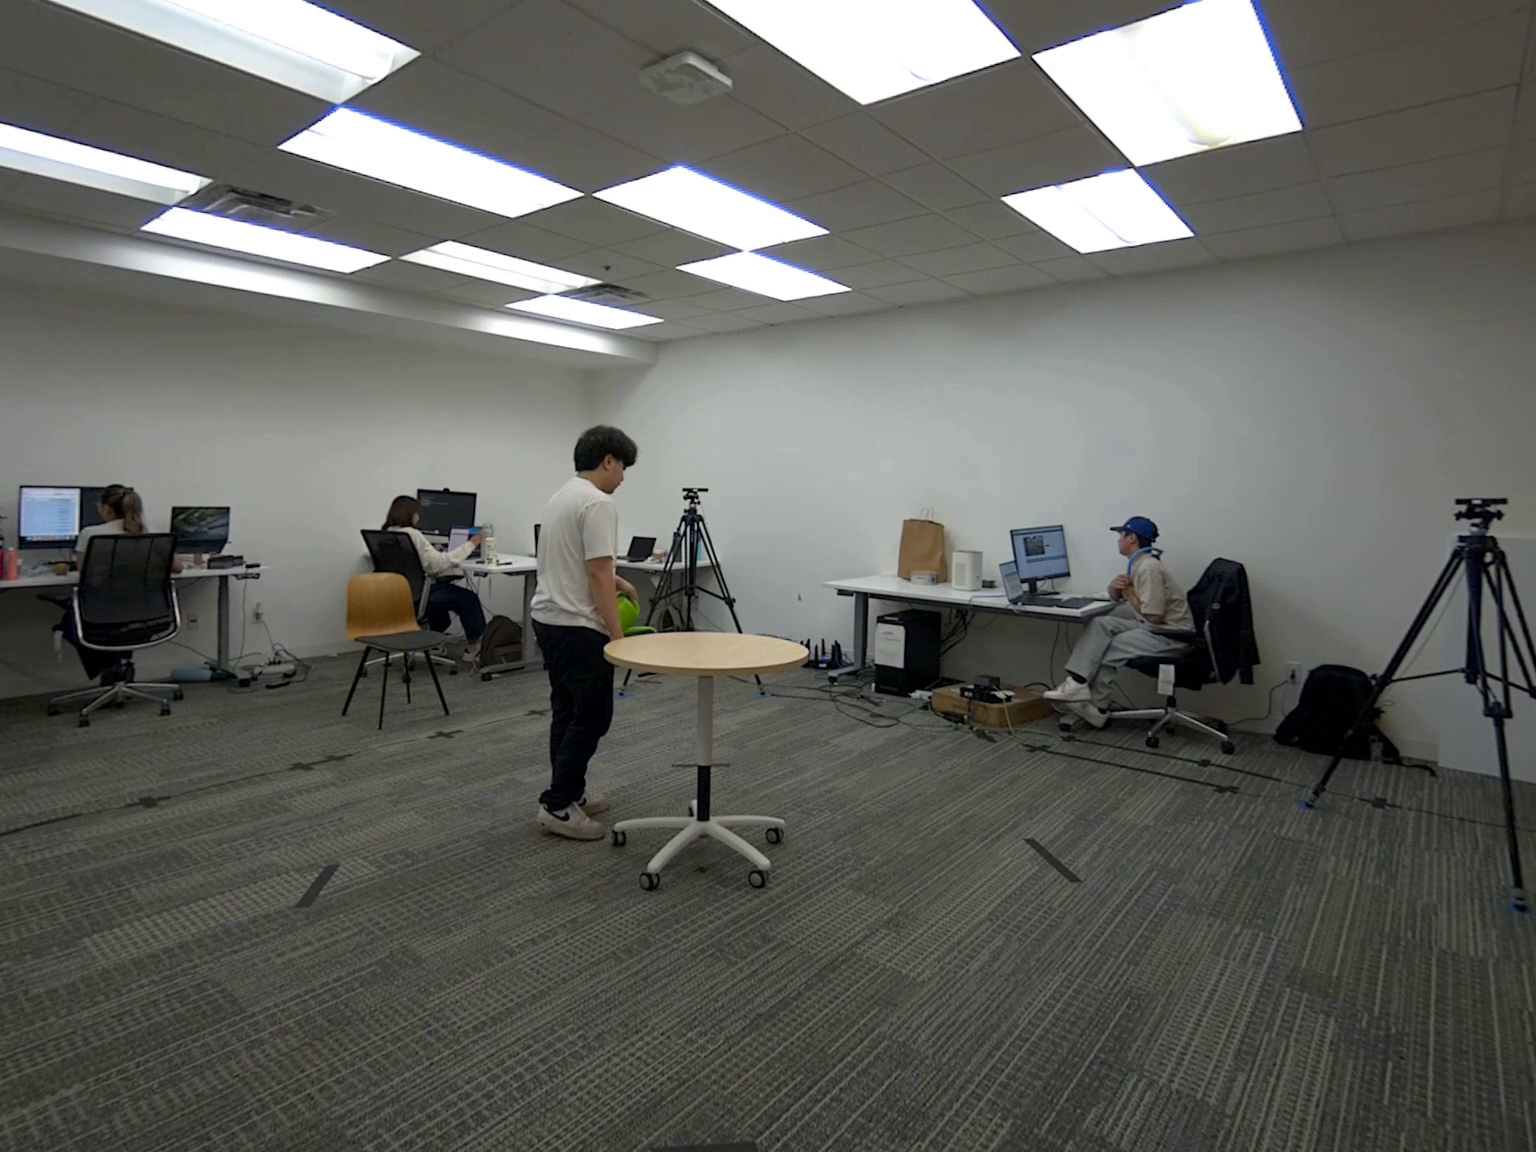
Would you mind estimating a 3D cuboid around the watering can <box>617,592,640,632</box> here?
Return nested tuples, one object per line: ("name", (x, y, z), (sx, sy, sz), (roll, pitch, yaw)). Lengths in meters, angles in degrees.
("watering can", (-0.648, 0.201, 3.887), (0.176, 0.275, 0.099), (-41, 8, -25))
